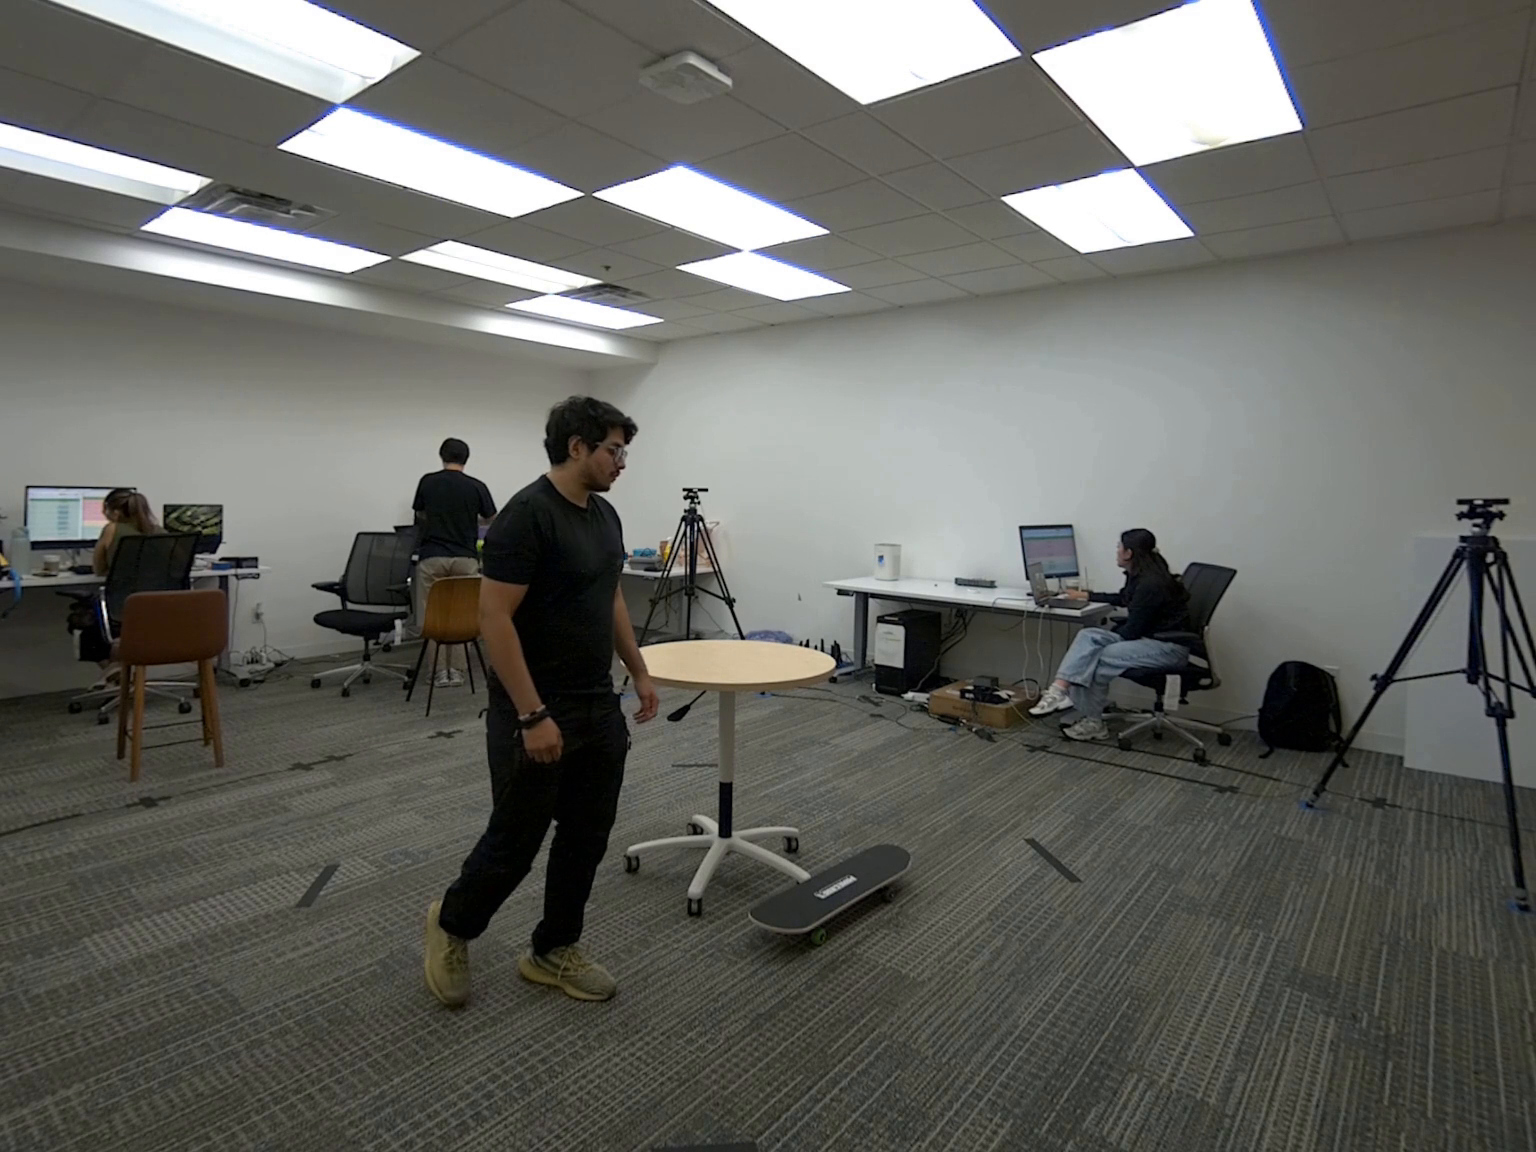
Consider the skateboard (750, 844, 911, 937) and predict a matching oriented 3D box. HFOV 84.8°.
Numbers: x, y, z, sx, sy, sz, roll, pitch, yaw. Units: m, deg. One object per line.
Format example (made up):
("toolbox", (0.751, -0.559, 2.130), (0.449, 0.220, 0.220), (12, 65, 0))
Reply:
("skateboard", (0.218, 1.053, 2.801), (0.200, 0.110, 0.762), (7, 8, 41))
